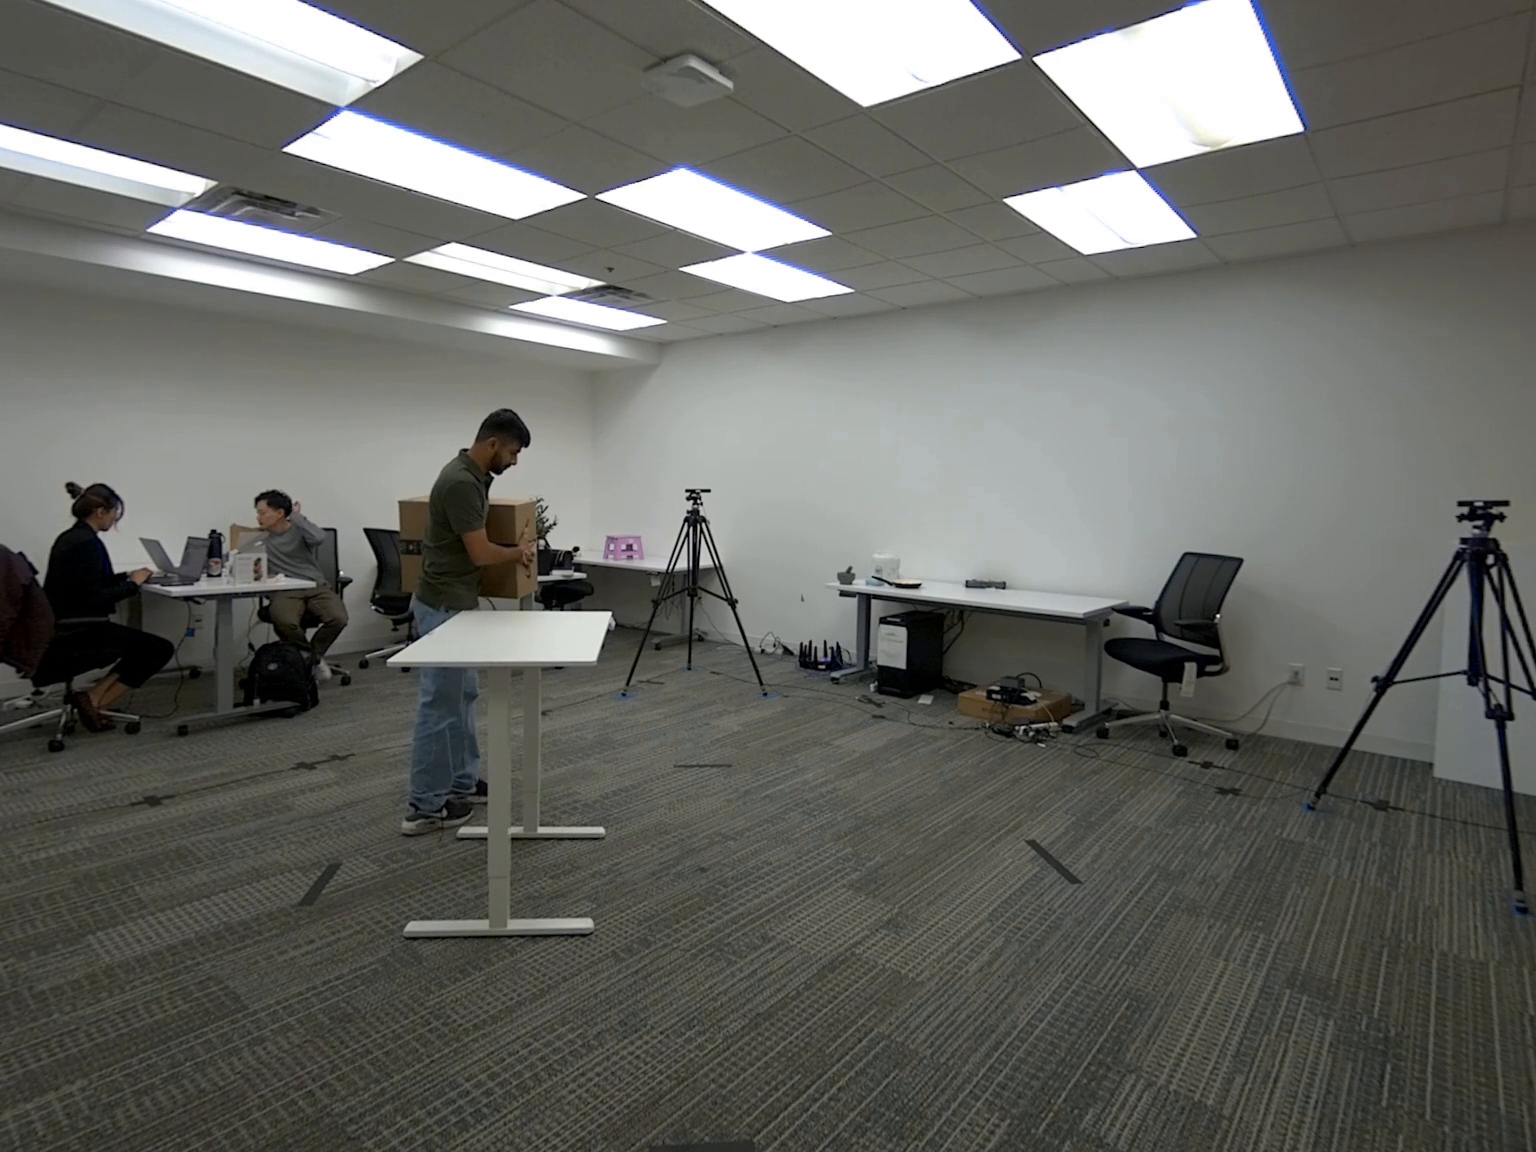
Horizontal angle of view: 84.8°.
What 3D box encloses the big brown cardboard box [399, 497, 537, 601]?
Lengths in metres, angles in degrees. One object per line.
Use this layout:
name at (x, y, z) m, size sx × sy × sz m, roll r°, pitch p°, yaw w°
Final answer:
big brown cardboard box at (-1.373, -0.142, 3.827) m, size 0.597 × 0.414 × 0.232 m, roll 4°, pitch 9°, yaw 12°
